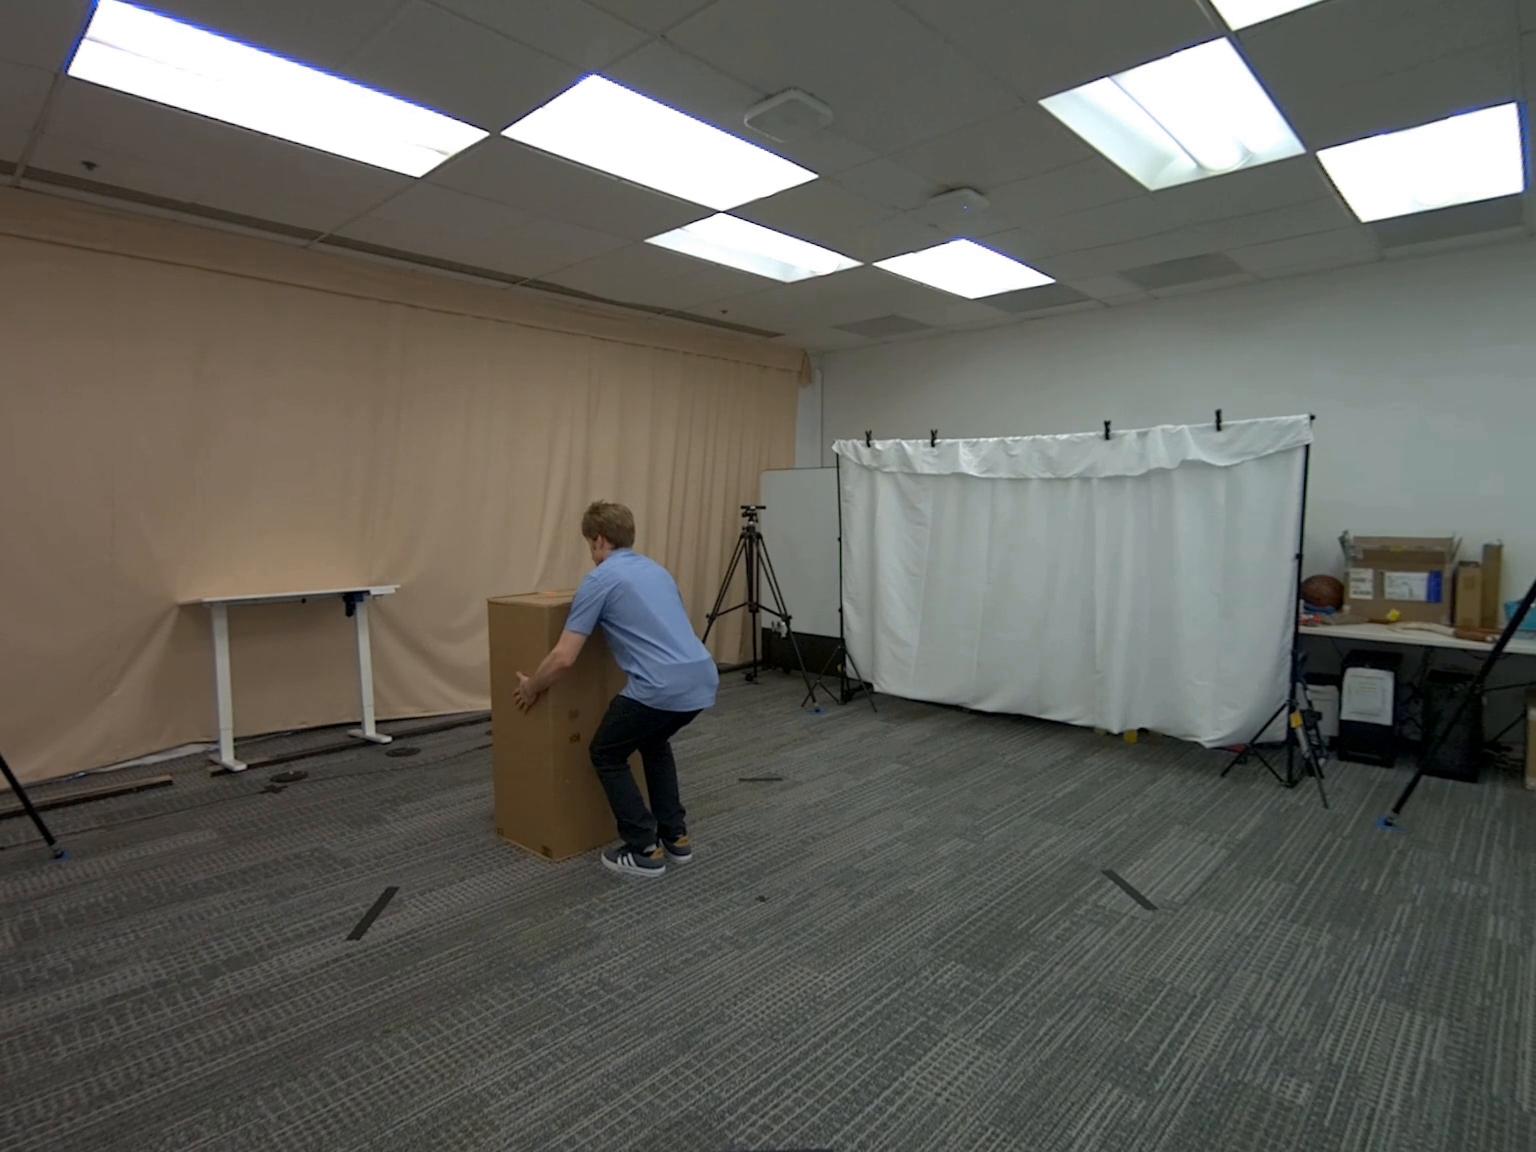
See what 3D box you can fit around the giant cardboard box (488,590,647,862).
[{"bbox_3d":[-0.830,0.589,3.620,0.440,1.024,0.560,2,4,42],"label":"giant cardboard box"}]
